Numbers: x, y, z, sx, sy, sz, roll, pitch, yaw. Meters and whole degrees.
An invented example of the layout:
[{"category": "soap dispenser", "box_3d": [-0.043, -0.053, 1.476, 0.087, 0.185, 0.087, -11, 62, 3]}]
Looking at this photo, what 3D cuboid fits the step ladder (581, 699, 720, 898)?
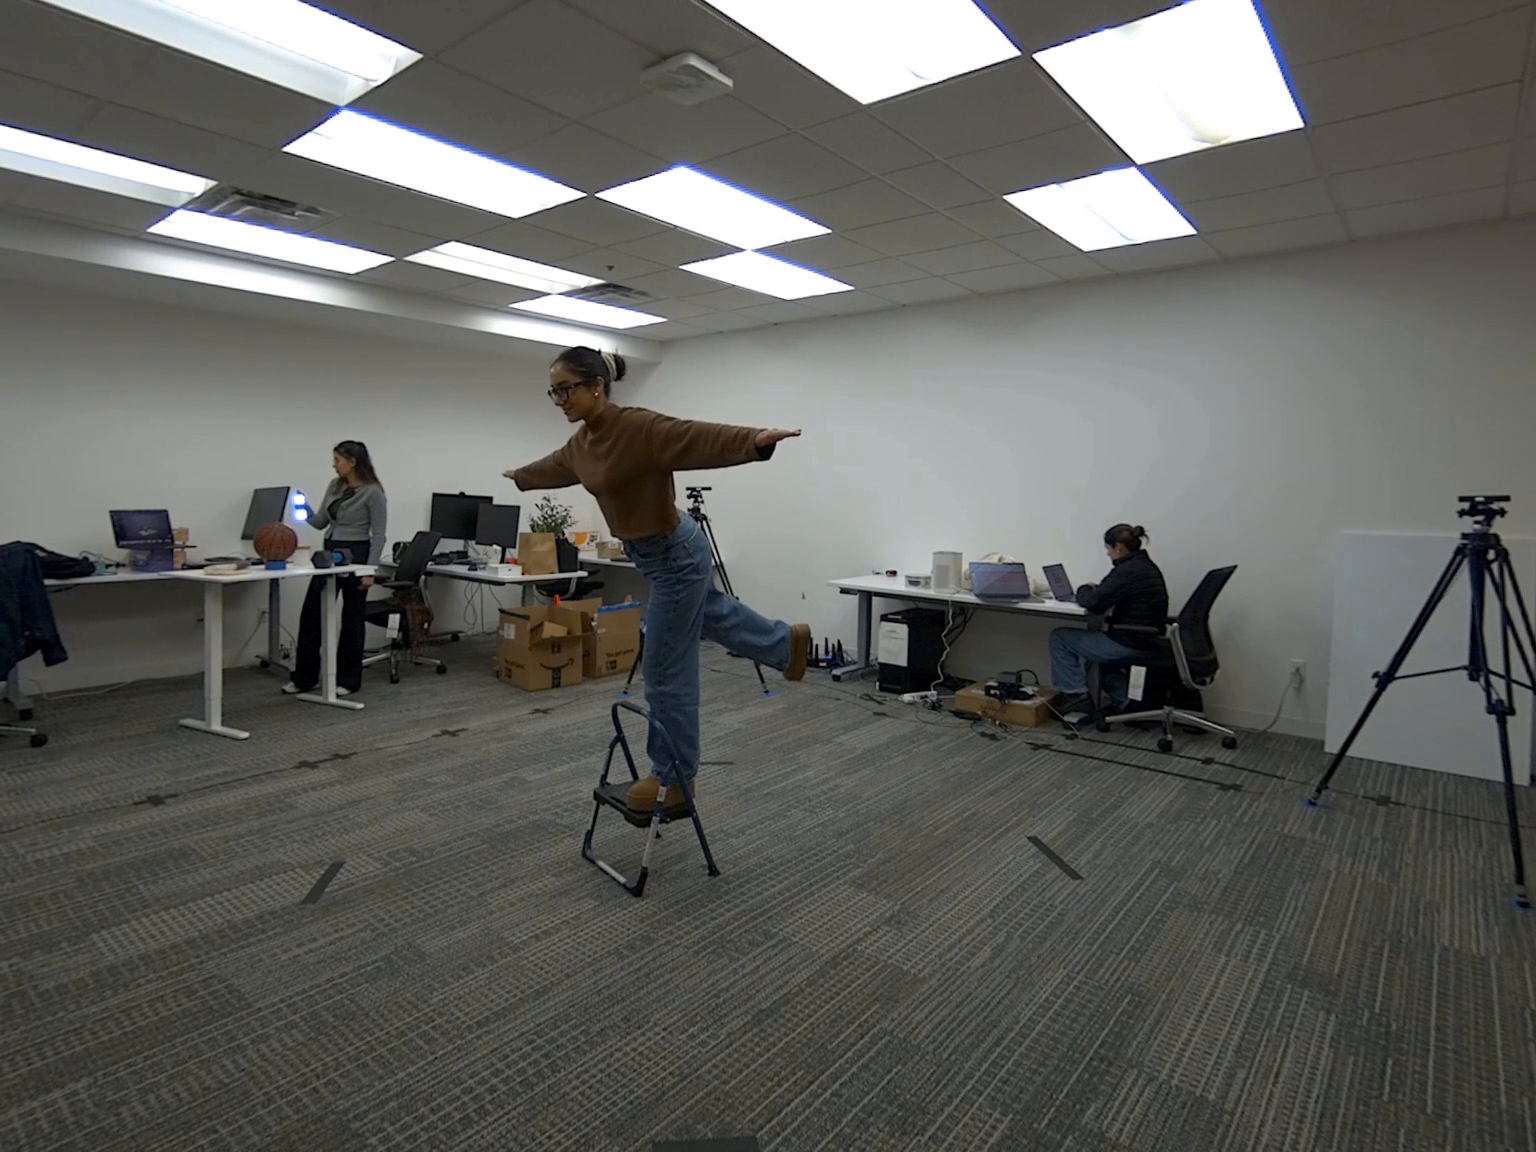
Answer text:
[{"category": "step ladder", "box_3d": [-0.447, 0.760, 3.117, 0.339, 0.604, 0.445, -2, 5, -39]}]
